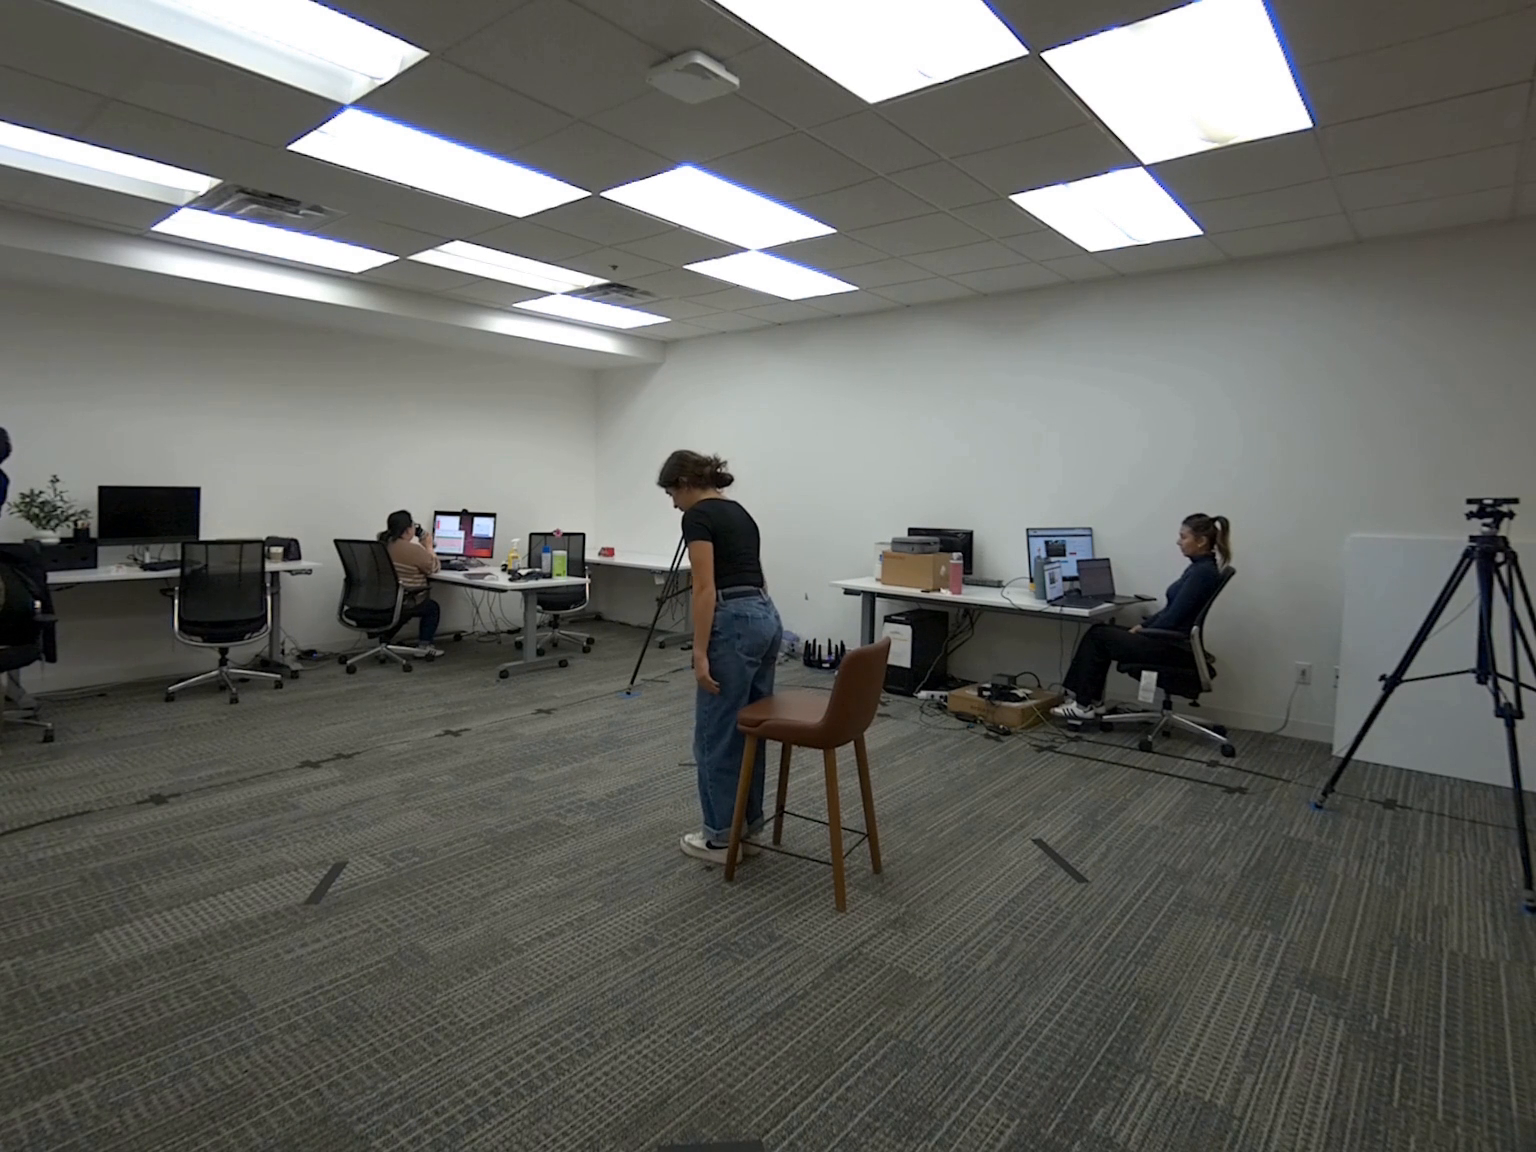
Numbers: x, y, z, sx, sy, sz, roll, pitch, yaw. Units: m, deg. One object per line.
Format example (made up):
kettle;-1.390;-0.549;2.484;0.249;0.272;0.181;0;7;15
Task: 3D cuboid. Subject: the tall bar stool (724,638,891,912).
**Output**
tall bar stool;0.146;0.648;3.046;0.482;0.886;0.445;5;5;29
